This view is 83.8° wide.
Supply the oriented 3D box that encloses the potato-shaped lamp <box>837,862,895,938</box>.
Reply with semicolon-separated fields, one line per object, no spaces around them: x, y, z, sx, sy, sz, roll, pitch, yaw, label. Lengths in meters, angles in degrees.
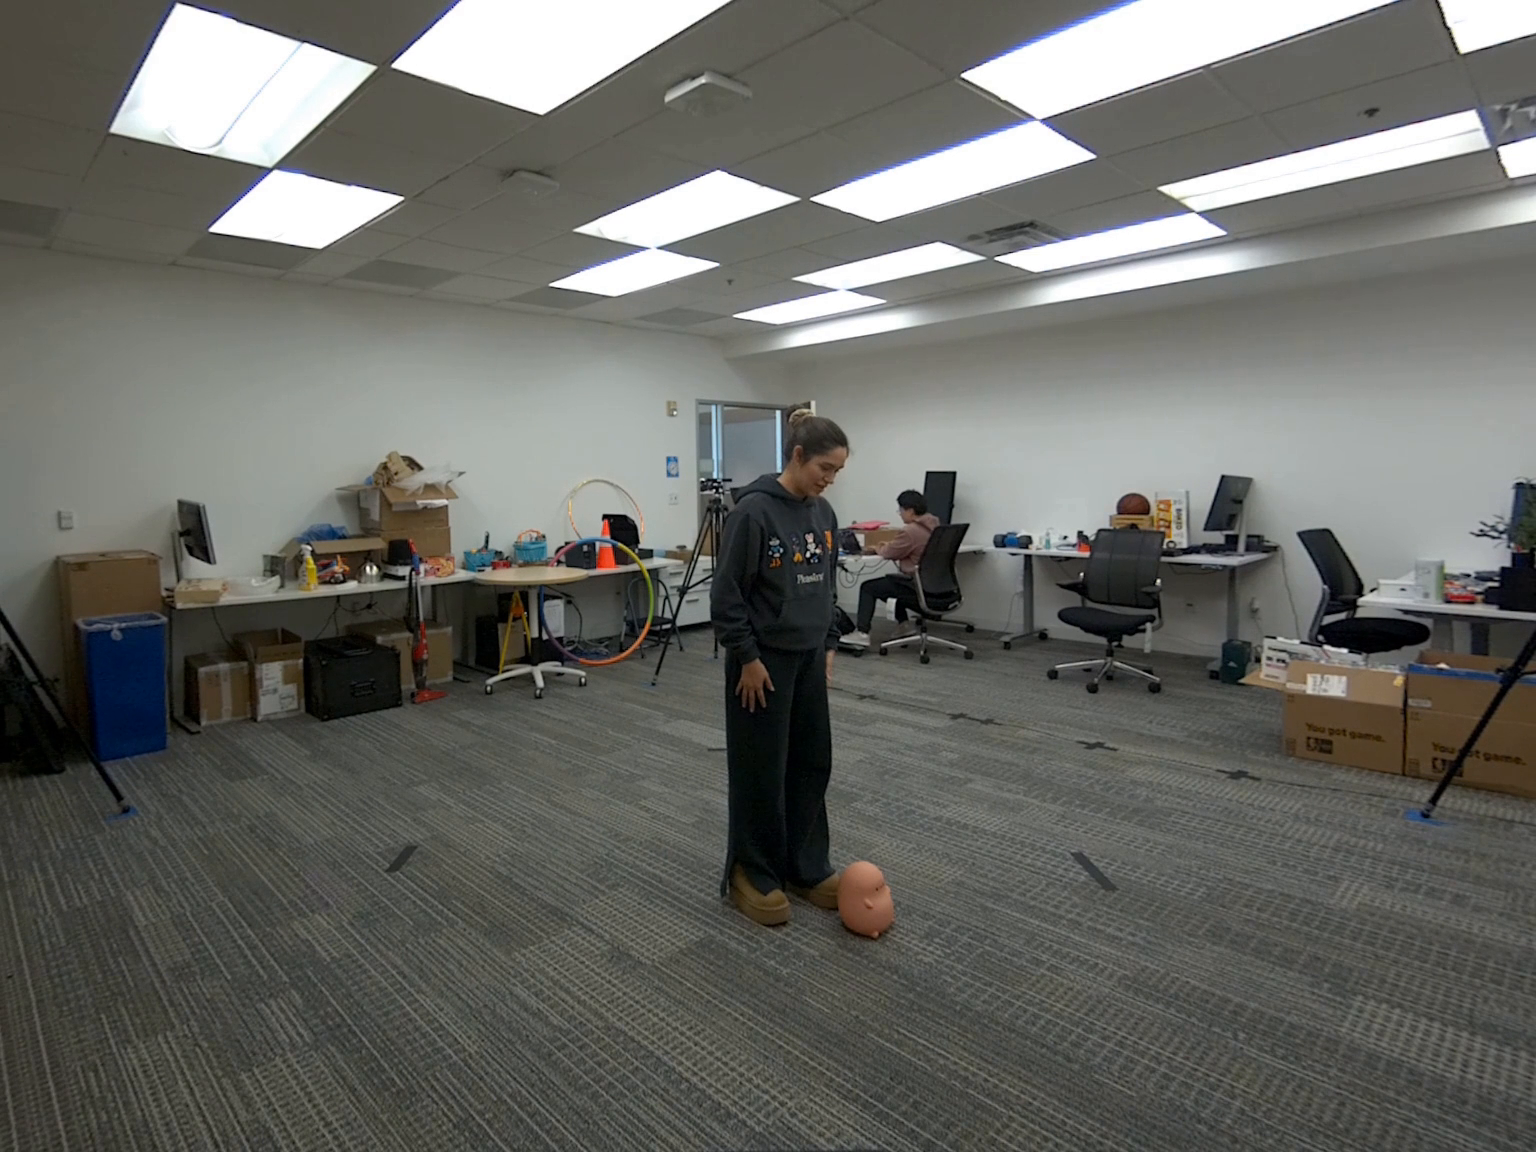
0.306;0.991;2.639;0.176;0.198;0.160;-2;1;35;potato-shaped lamp
